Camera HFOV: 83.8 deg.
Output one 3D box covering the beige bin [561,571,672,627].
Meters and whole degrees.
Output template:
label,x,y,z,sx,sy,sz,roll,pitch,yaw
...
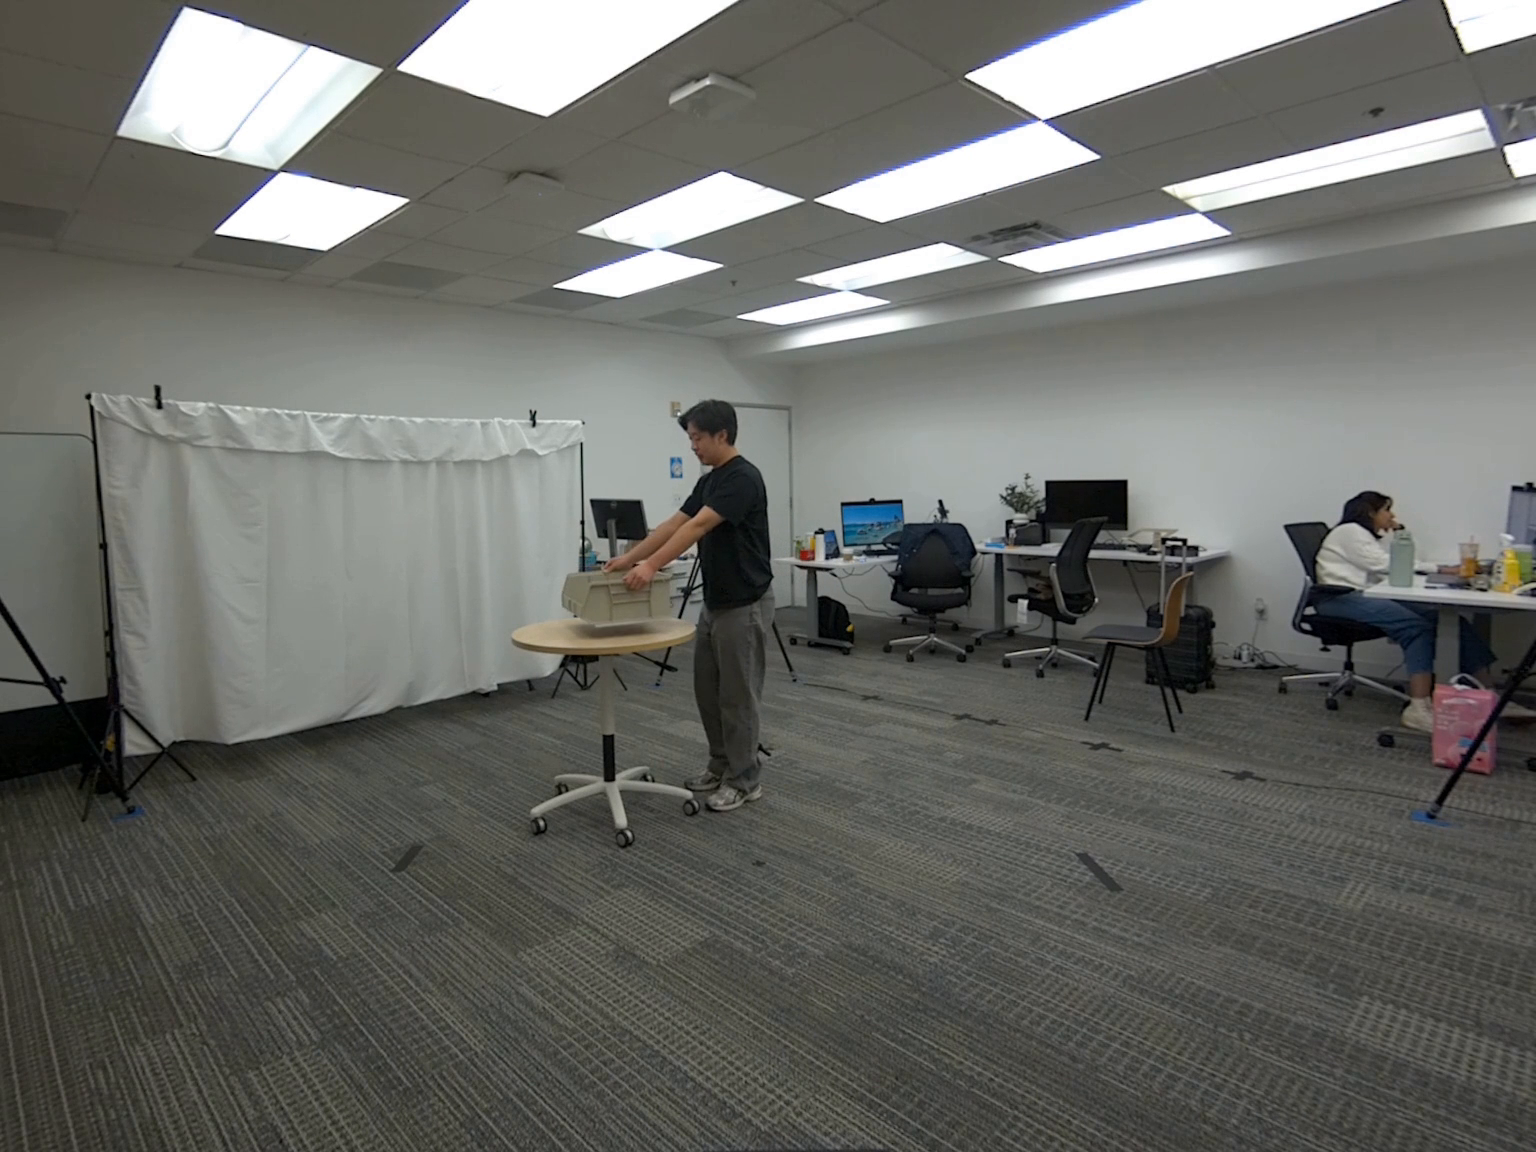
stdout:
label,x,y,z,sx,sy,sz,roll,pitch,yaw
beige bin,-0.632,0.088,3.578,0.370,0.188,0.432,-4,5,-23
